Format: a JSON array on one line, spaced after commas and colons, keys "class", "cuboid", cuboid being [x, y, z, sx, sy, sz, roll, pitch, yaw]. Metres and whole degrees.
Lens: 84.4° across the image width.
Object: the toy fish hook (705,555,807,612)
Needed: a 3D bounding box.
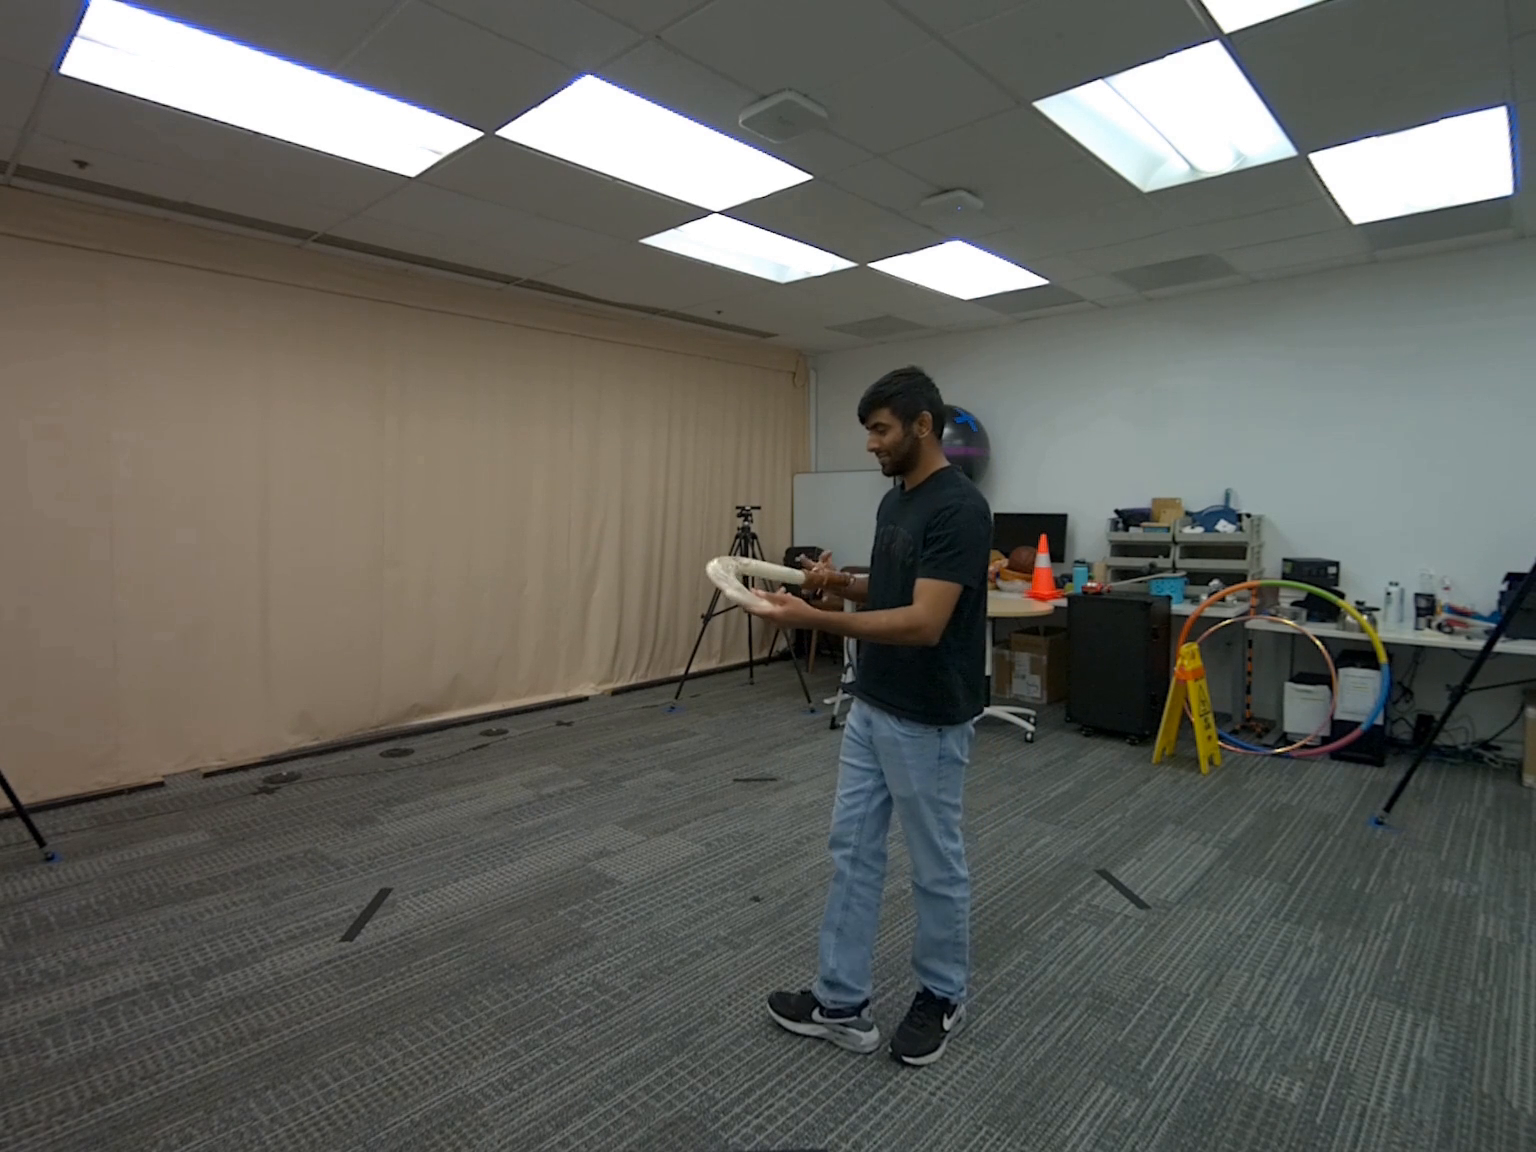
[{"class": "toy fish hook", "cuboid": [0.079, 0.036, 2.057, 0.490, 0.048, 0.232, 2, 38, -42]}]
